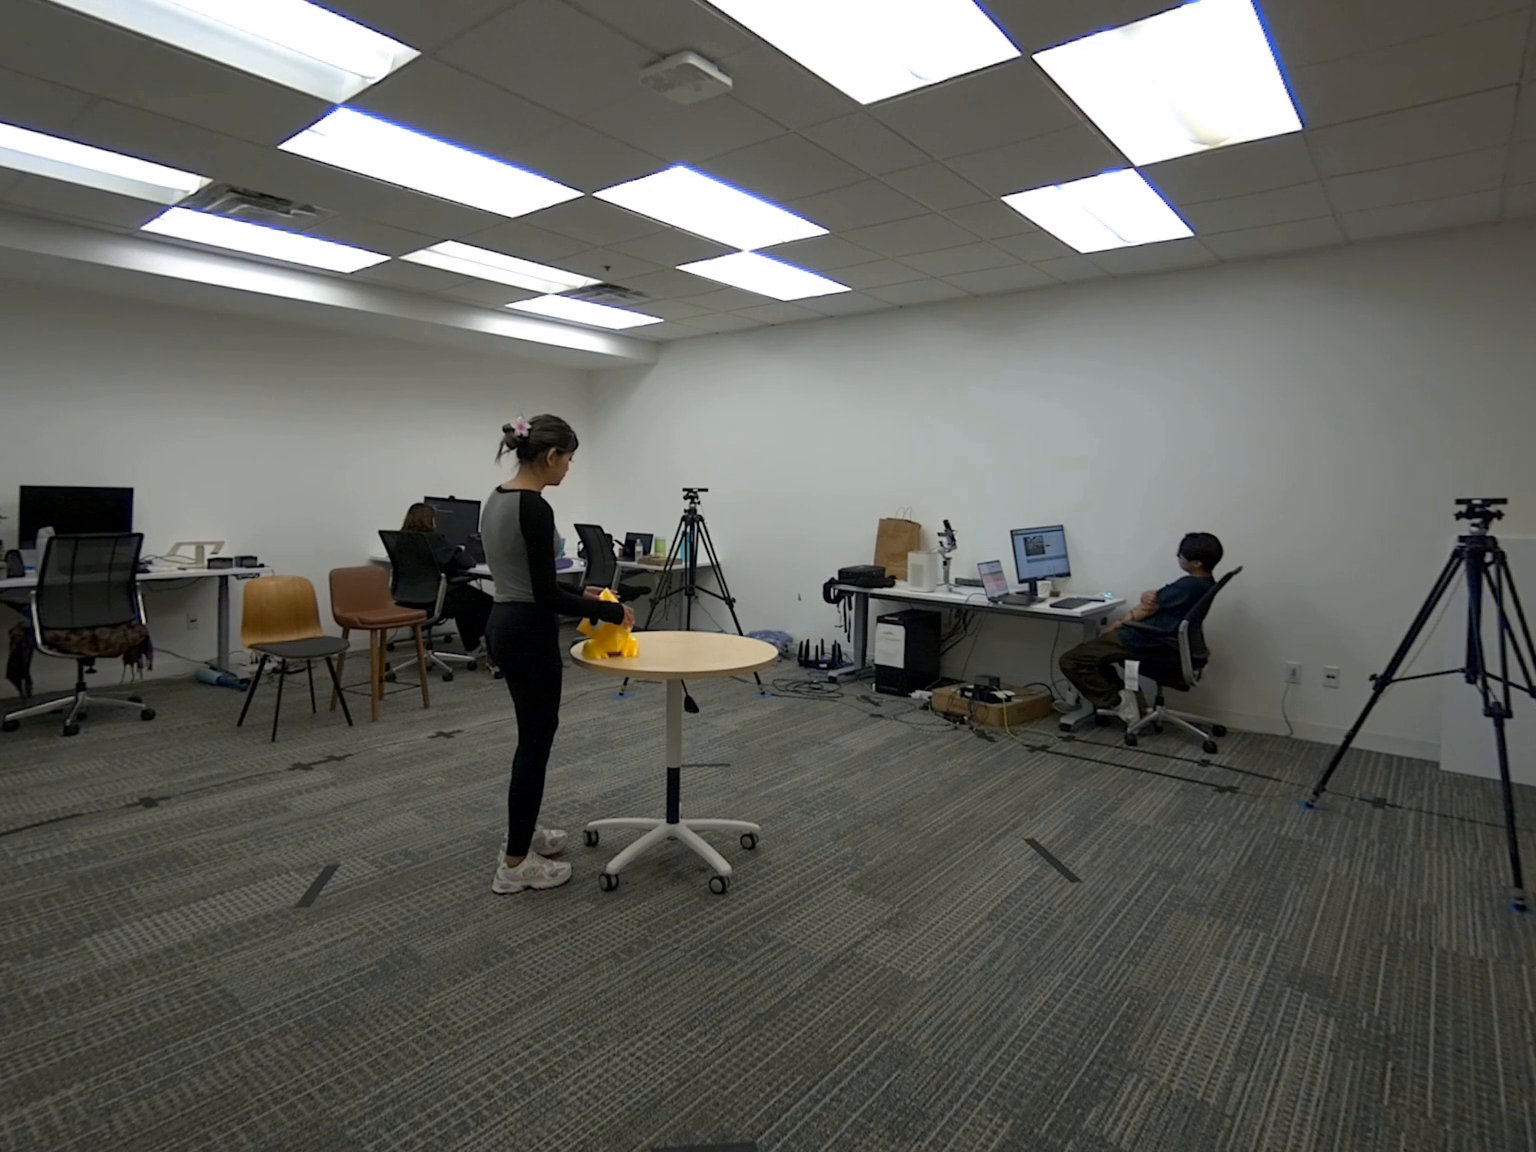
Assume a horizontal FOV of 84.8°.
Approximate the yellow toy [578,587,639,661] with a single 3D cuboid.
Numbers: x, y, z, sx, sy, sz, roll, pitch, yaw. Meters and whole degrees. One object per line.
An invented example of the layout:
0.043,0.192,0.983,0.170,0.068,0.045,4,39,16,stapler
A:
-0.576,0.167,3.048,0.200,0.230,0.198,-1,5,-24,yellow toy
